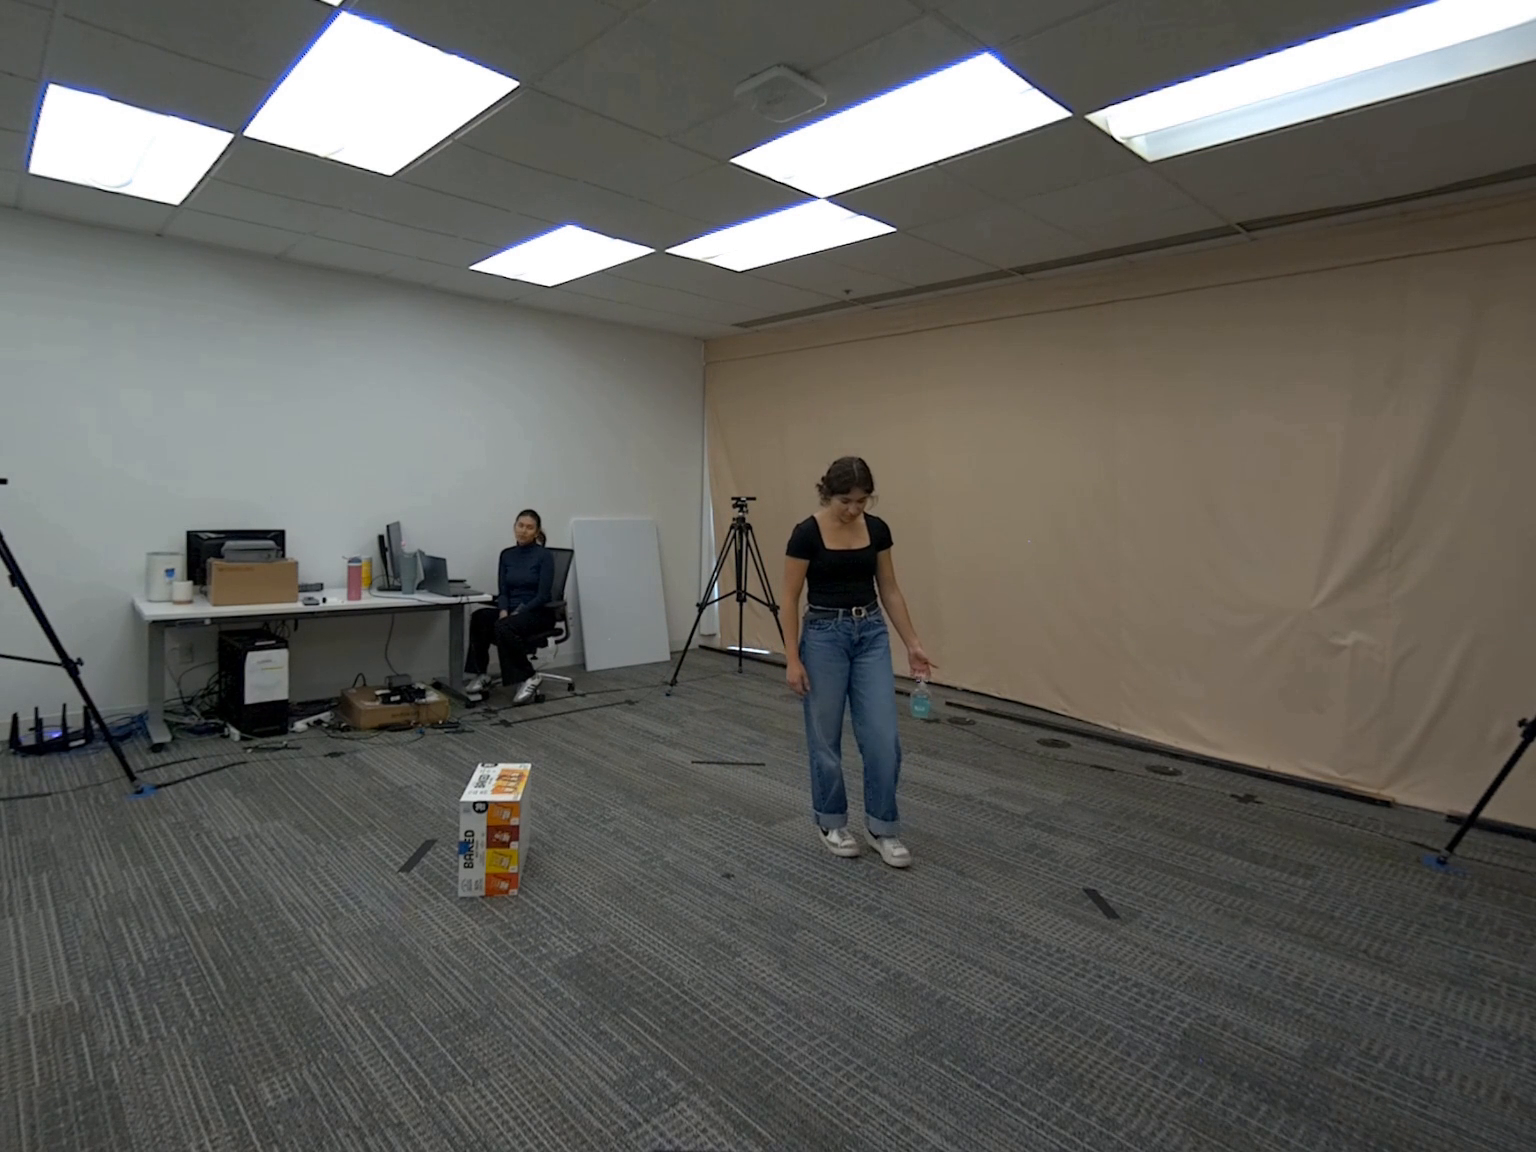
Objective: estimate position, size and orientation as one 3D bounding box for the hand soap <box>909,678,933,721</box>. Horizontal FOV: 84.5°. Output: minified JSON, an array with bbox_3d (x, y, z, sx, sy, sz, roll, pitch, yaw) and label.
[{"bbox_3d":[0.583,0.467,3.267,0.085,0.168,0.043,6,3,6],"label":"hand soap"}]
